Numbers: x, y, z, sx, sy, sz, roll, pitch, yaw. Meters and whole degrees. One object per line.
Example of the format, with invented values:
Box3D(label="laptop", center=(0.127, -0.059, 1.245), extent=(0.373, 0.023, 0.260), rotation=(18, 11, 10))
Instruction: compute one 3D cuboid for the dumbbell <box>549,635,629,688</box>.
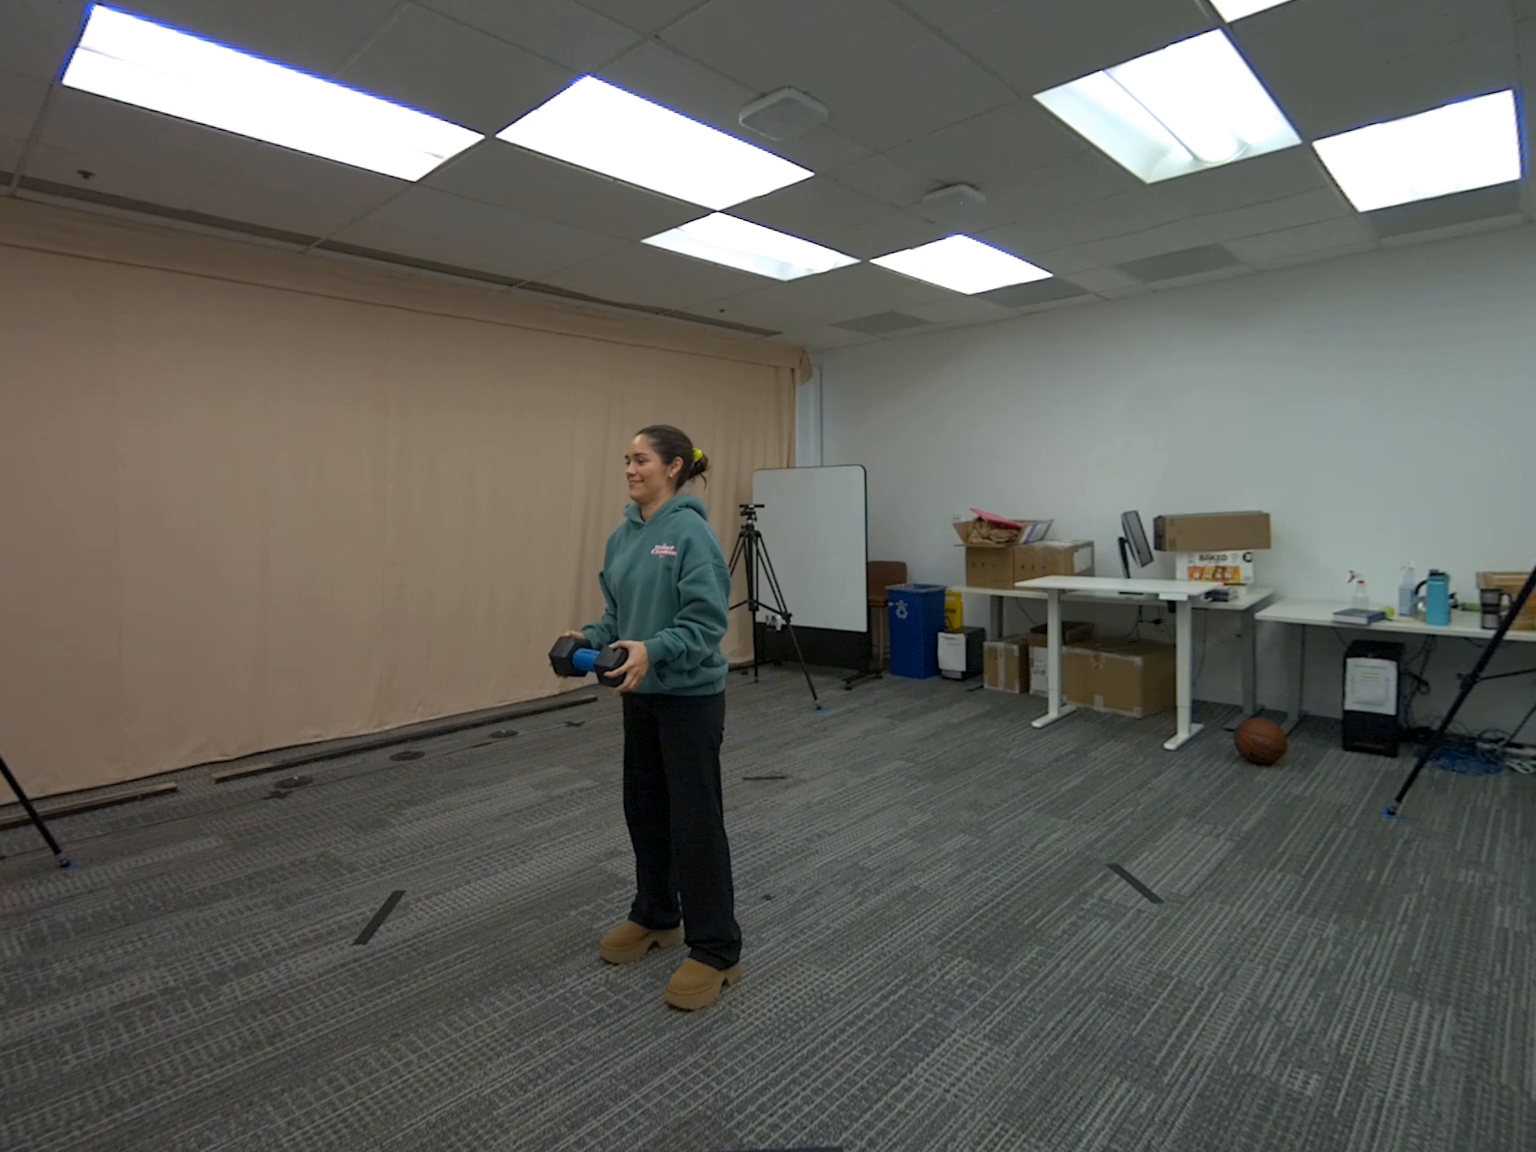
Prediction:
Box3D(label="dumbbell", center=(-0.465, 0.230, 2.313), extent=(0.303, 0.123, 0.105), rotation=(4, -33, 44))
